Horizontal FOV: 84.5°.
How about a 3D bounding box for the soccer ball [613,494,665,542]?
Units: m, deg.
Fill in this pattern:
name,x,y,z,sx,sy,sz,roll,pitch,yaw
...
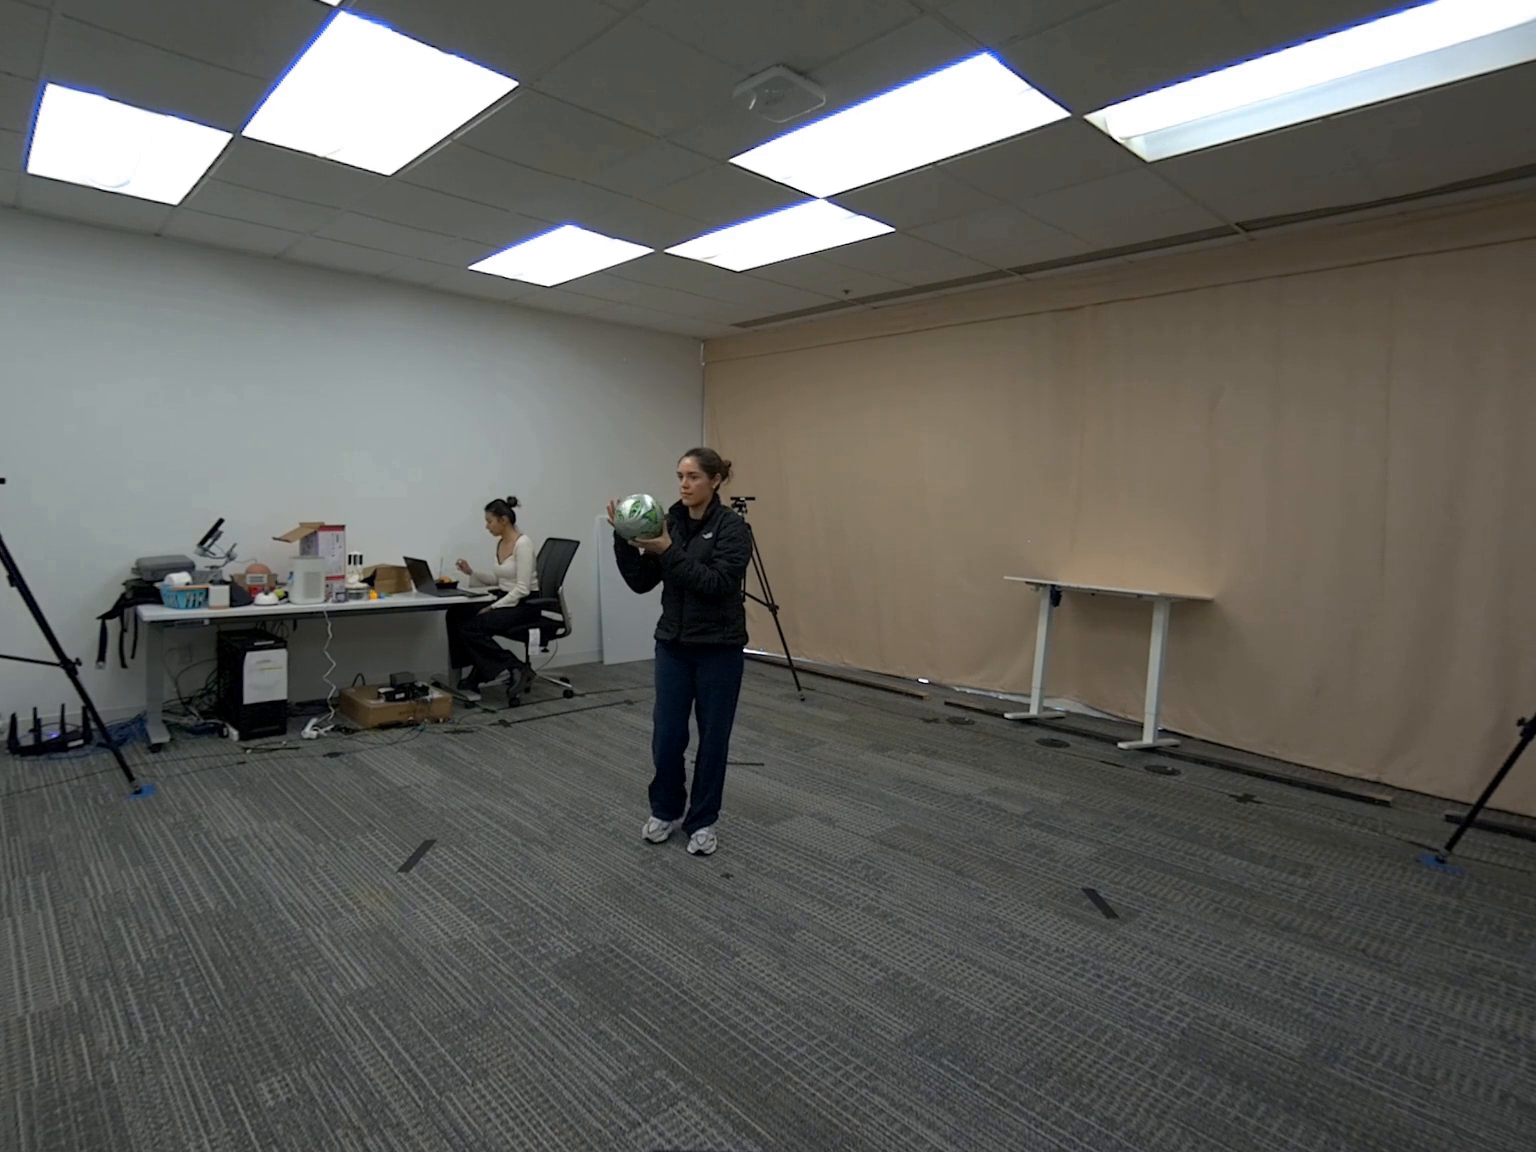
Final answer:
name,x,y,z,sx,sy,sz,roll,pitch,yaw
soccer ball,-0.498,-0.214,3.159,0.187,0.187,0.188,1,4,-1
